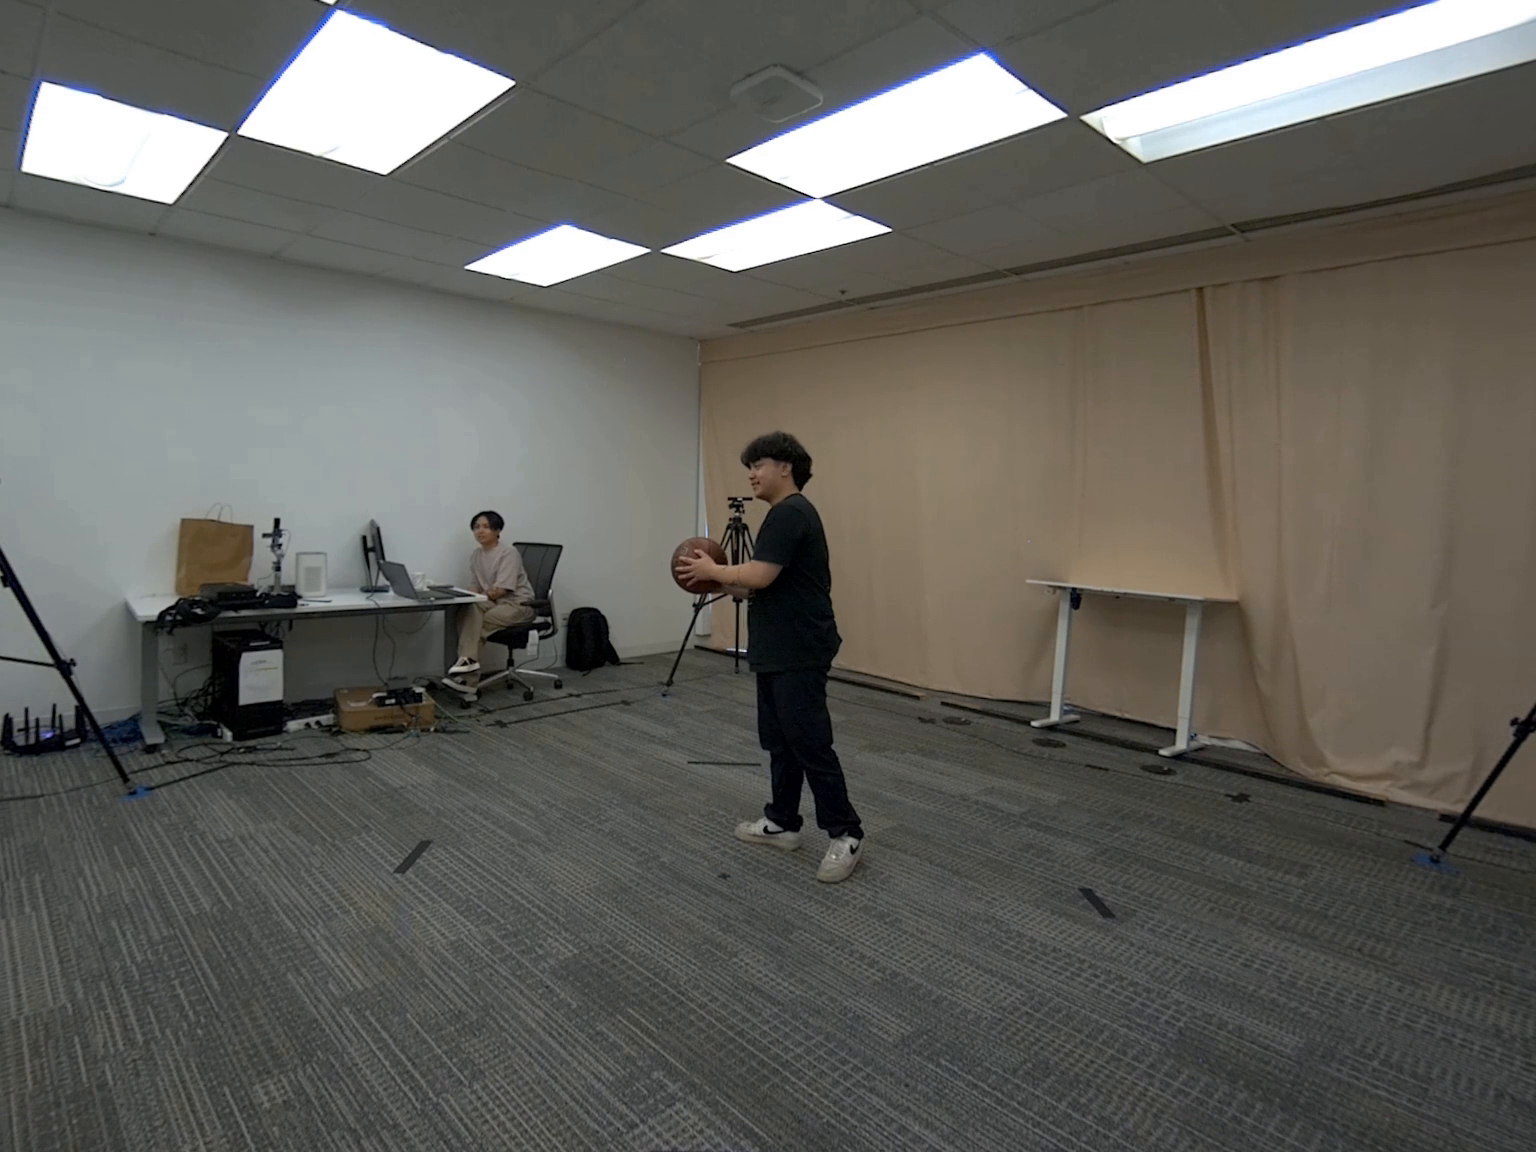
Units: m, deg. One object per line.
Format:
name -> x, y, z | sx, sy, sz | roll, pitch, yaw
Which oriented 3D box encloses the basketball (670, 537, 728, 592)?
basketball -> -0.289, -0.043, 3.472 | 0.236, 0.235, 0.237 | 1, 4, -1
